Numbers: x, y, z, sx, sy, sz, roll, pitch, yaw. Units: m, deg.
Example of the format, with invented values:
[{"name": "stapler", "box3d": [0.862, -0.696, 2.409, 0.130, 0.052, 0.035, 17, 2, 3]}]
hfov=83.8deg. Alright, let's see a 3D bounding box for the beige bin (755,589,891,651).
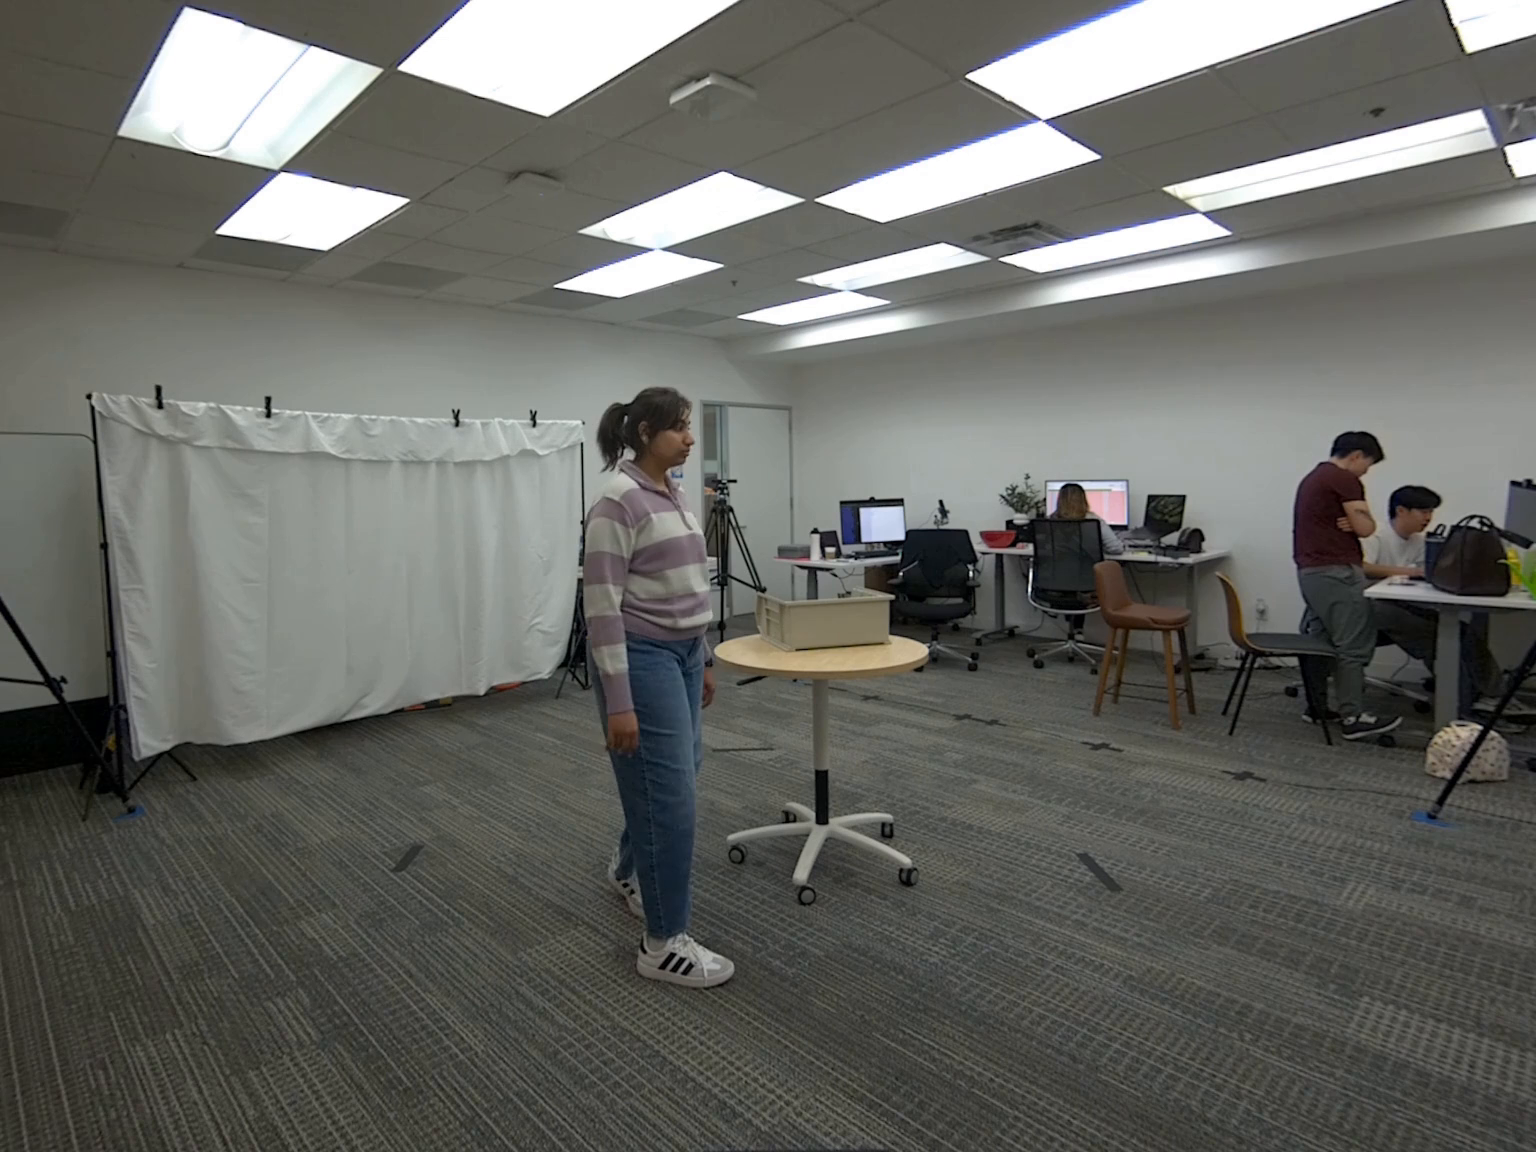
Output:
[{"name": "beige bin", "box3d": [0.207, 0.158, 3.249, 0.416, 0.188, 0.384, -2, 6, -16]}]
